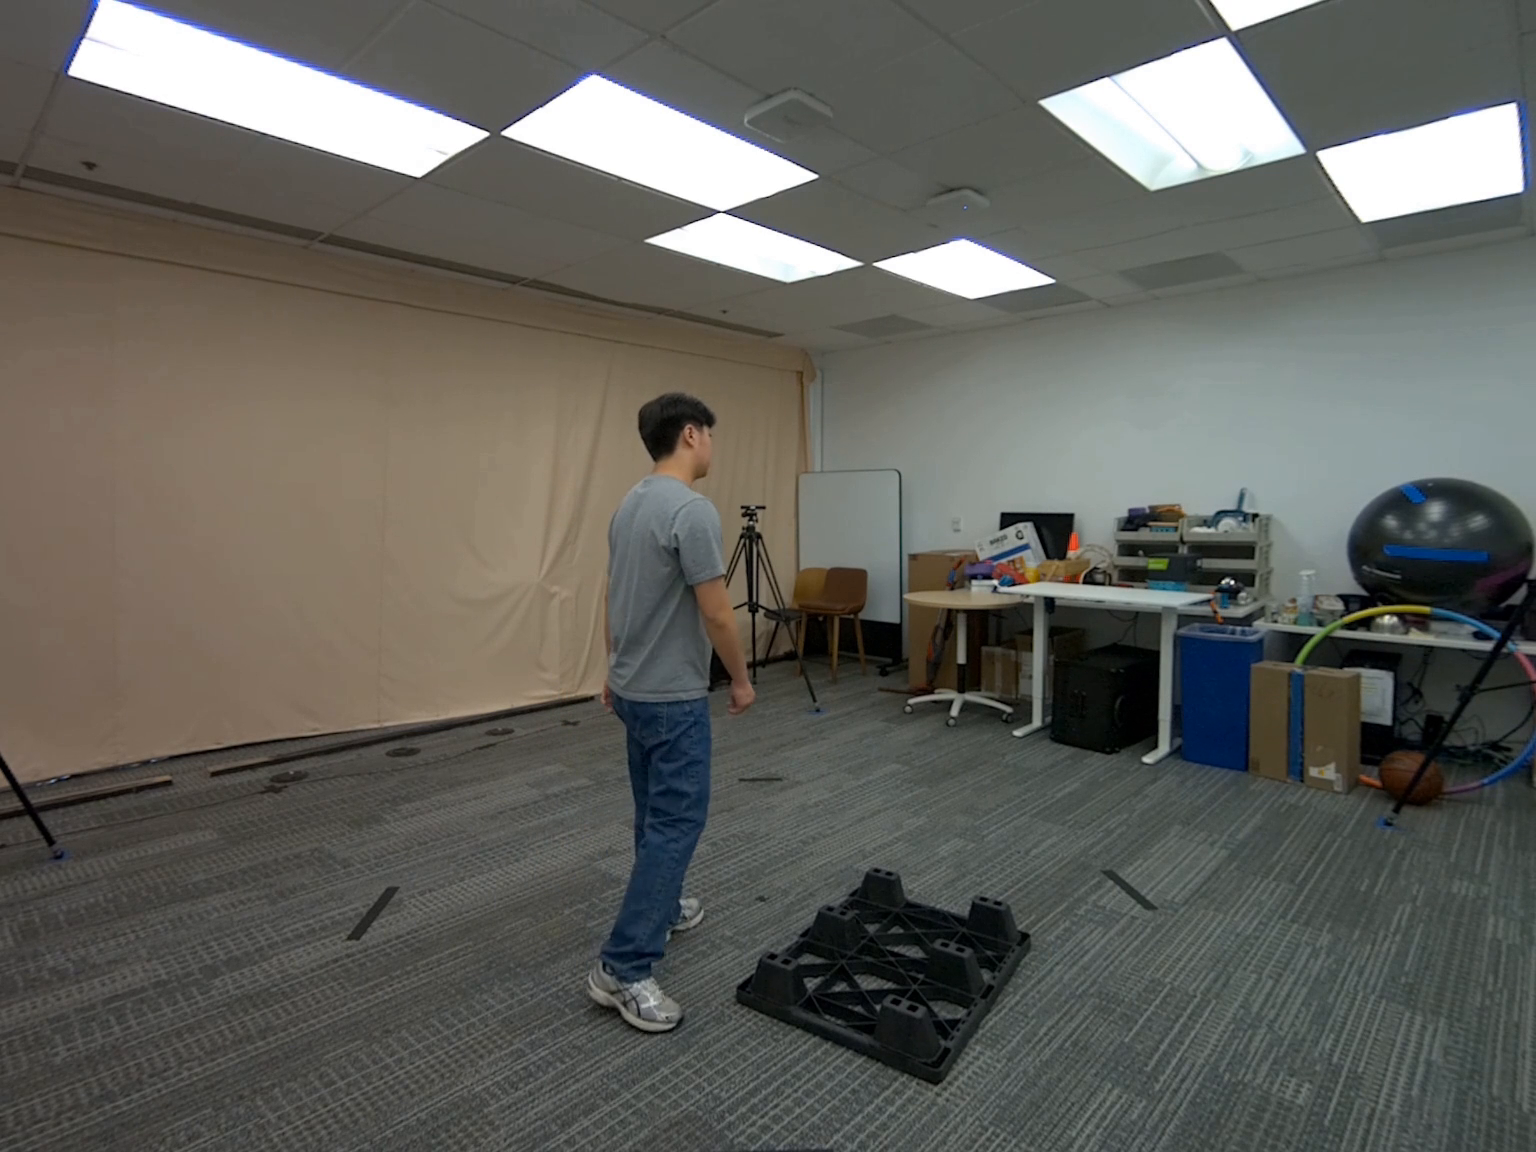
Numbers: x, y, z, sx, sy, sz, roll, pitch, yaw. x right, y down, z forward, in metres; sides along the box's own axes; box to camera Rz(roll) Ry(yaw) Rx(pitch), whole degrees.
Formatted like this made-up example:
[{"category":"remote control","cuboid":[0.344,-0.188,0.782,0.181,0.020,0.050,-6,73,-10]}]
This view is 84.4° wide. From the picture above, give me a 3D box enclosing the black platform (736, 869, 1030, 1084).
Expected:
[{"category":"black platform","cuboid":[0.374,1.117,2.498,0.624,0.143,0.783,3,6,33]}]
